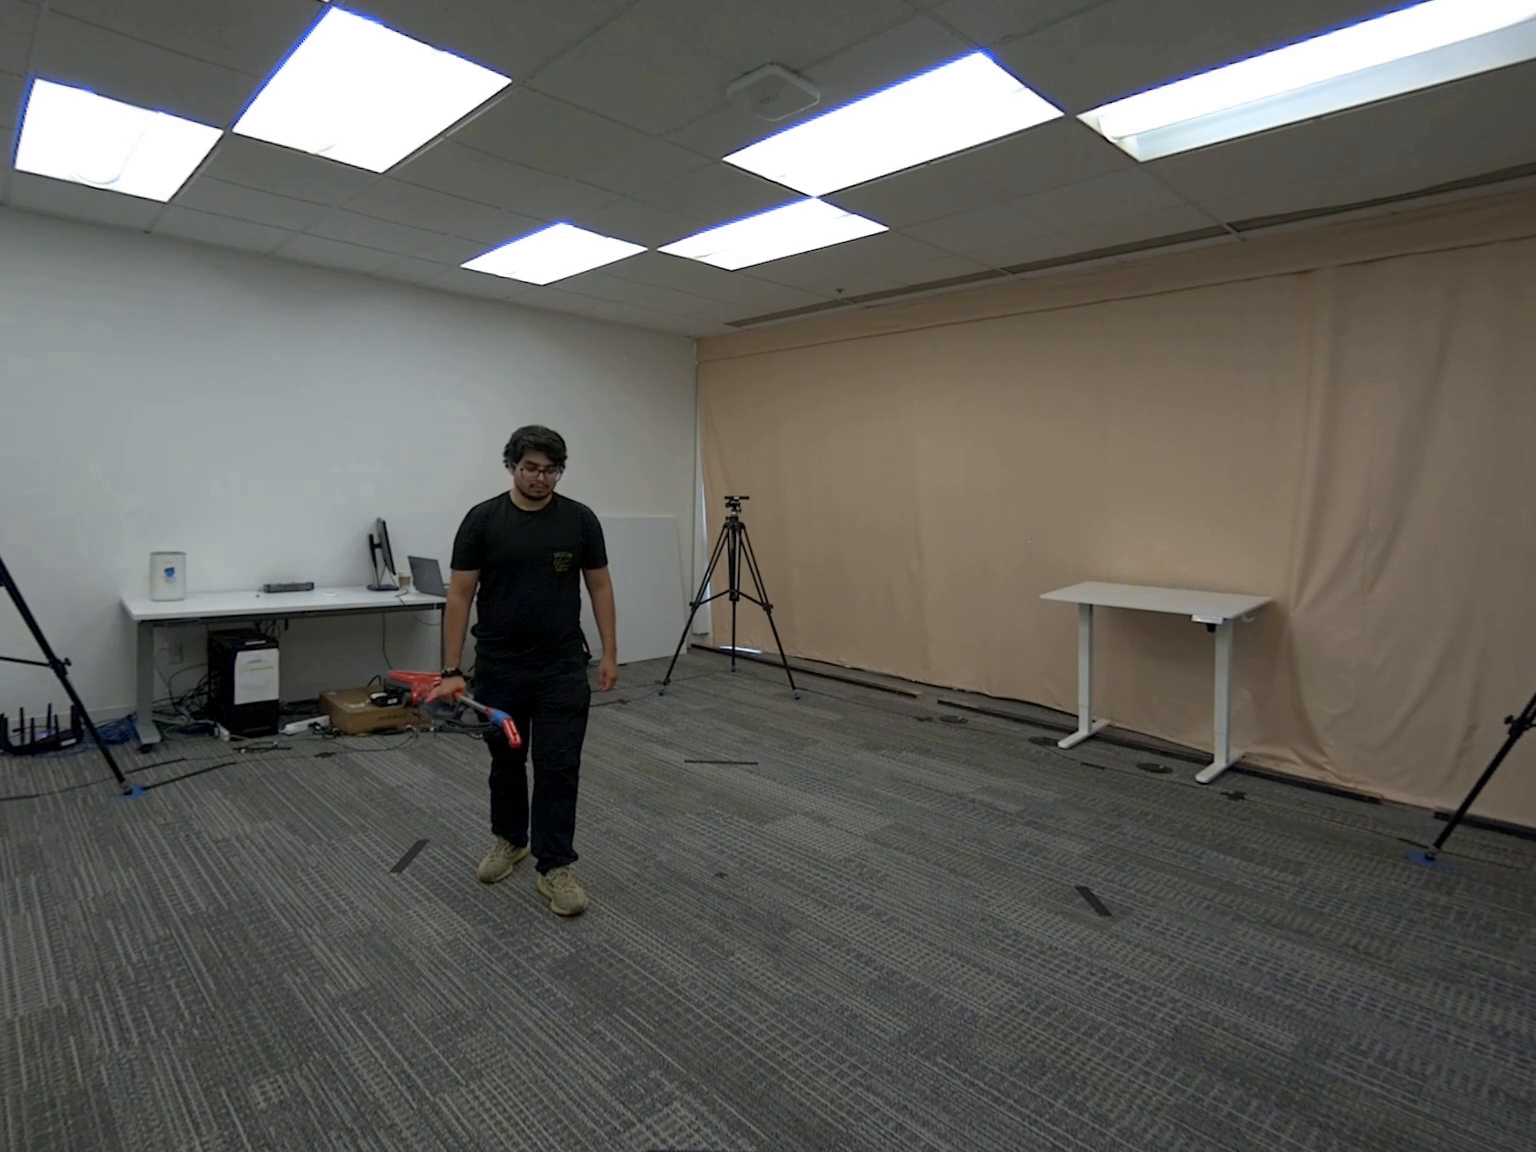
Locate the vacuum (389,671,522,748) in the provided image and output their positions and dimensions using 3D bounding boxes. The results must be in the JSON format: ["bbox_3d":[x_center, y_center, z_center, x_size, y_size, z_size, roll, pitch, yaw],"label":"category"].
[{"bbox_3d":[-1.007,0.445,2.739,0.246,0.144,1.073,8,-3,-34],"label":"vacuum"}]
